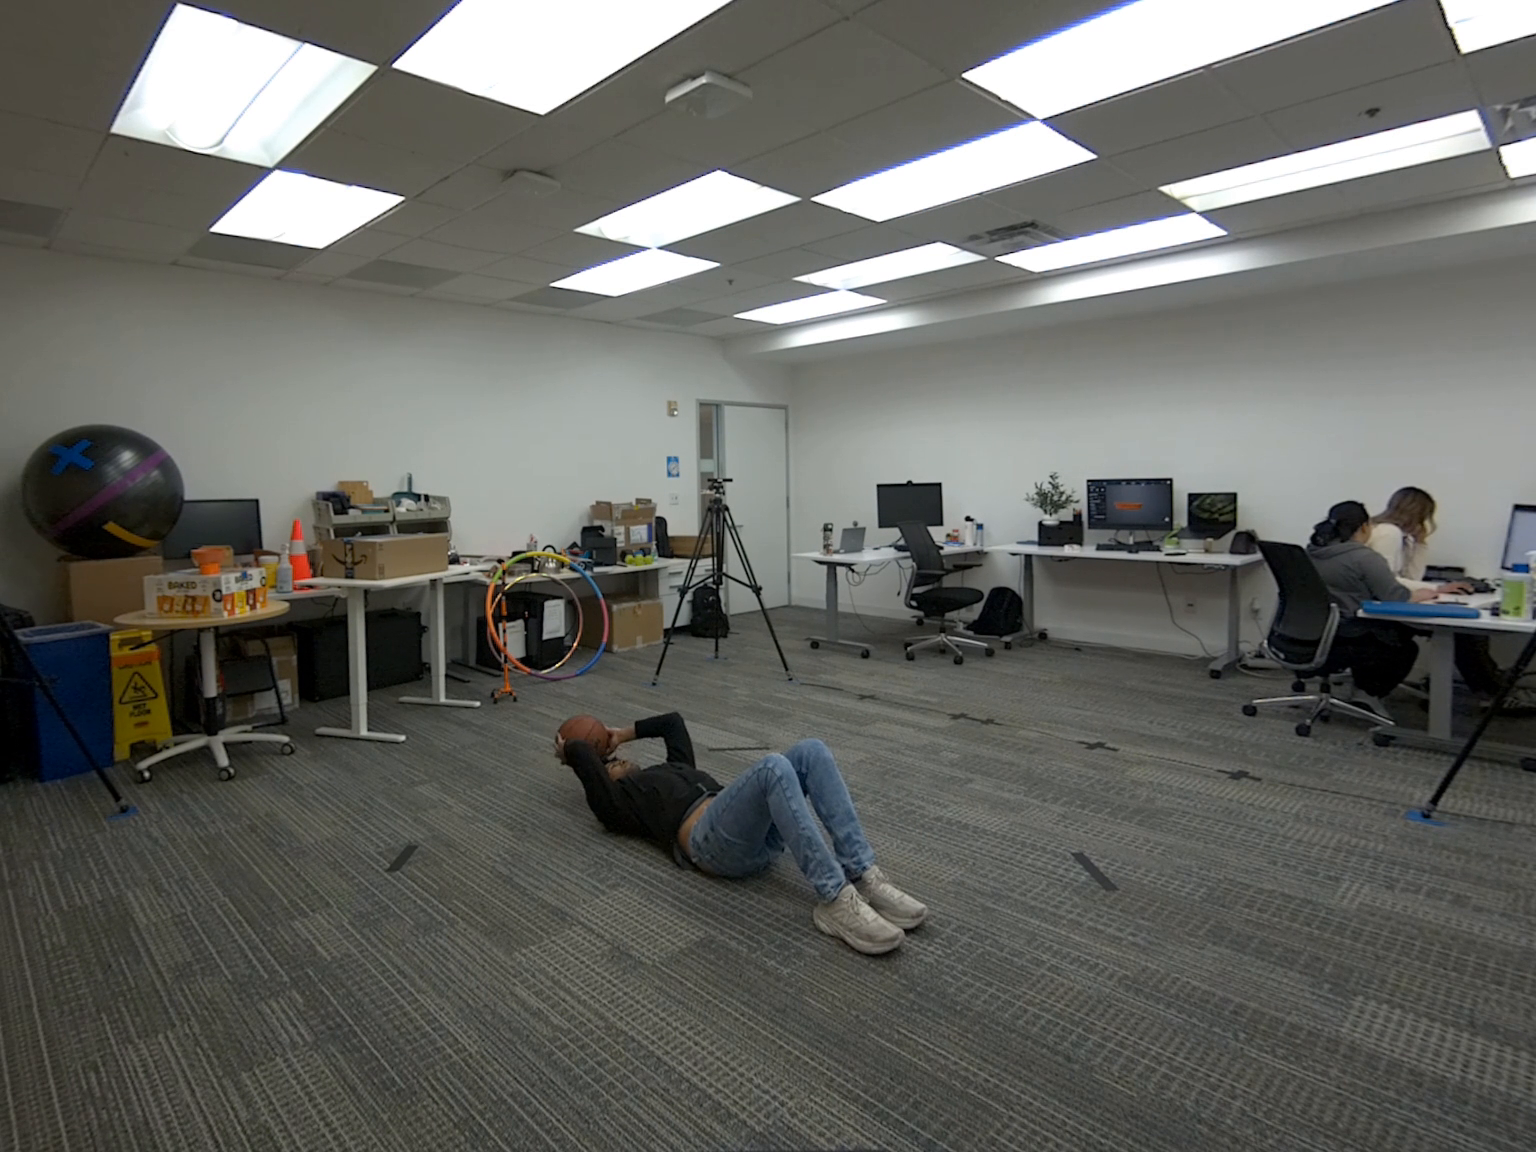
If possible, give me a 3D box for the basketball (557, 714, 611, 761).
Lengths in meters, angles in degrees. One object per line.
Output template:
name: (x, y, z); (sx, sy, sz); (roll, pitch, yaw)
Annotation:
basketball: (-0.824, 0.736, 3.815); (0.236, 0.235, 0.237); (-1, 5, -2)
